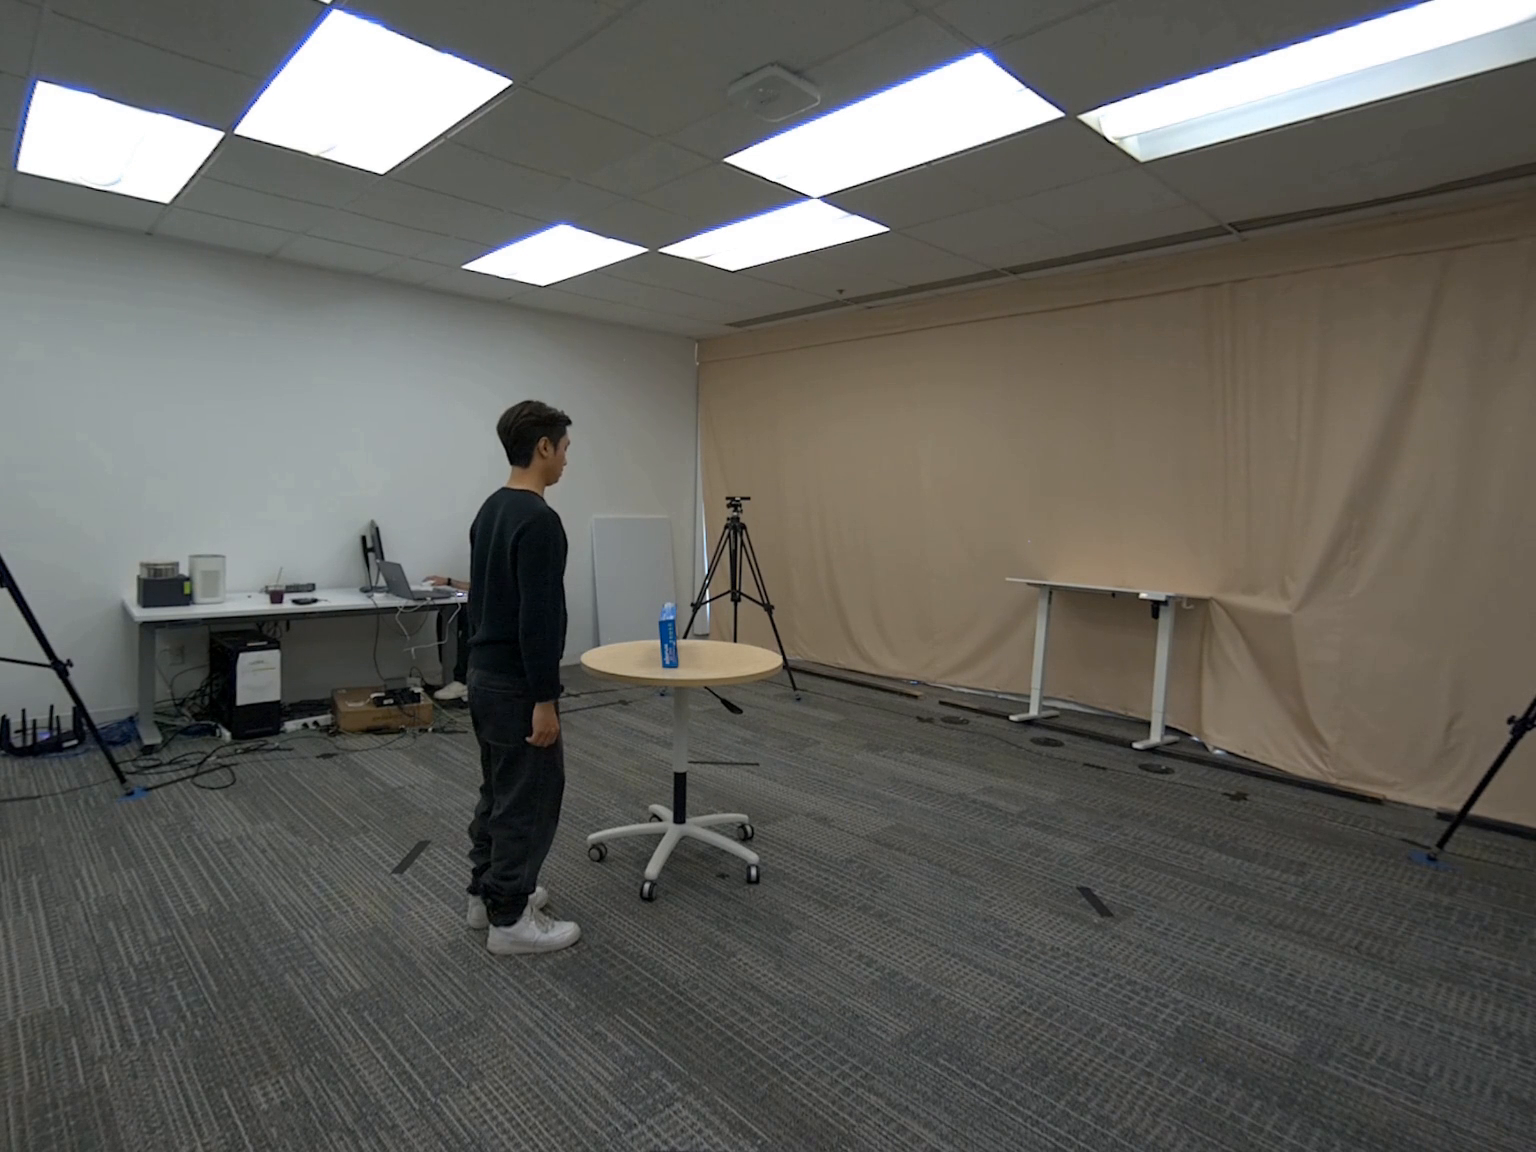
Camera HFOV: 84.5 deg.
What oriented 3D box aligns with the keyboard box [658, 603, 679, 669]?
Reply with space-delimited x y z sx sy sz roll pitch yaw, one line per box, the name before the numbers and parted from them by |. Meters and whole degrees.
keyboard box | -0.382 0.220 3.217 0.059 0.175 0.439 -4 6 -4
